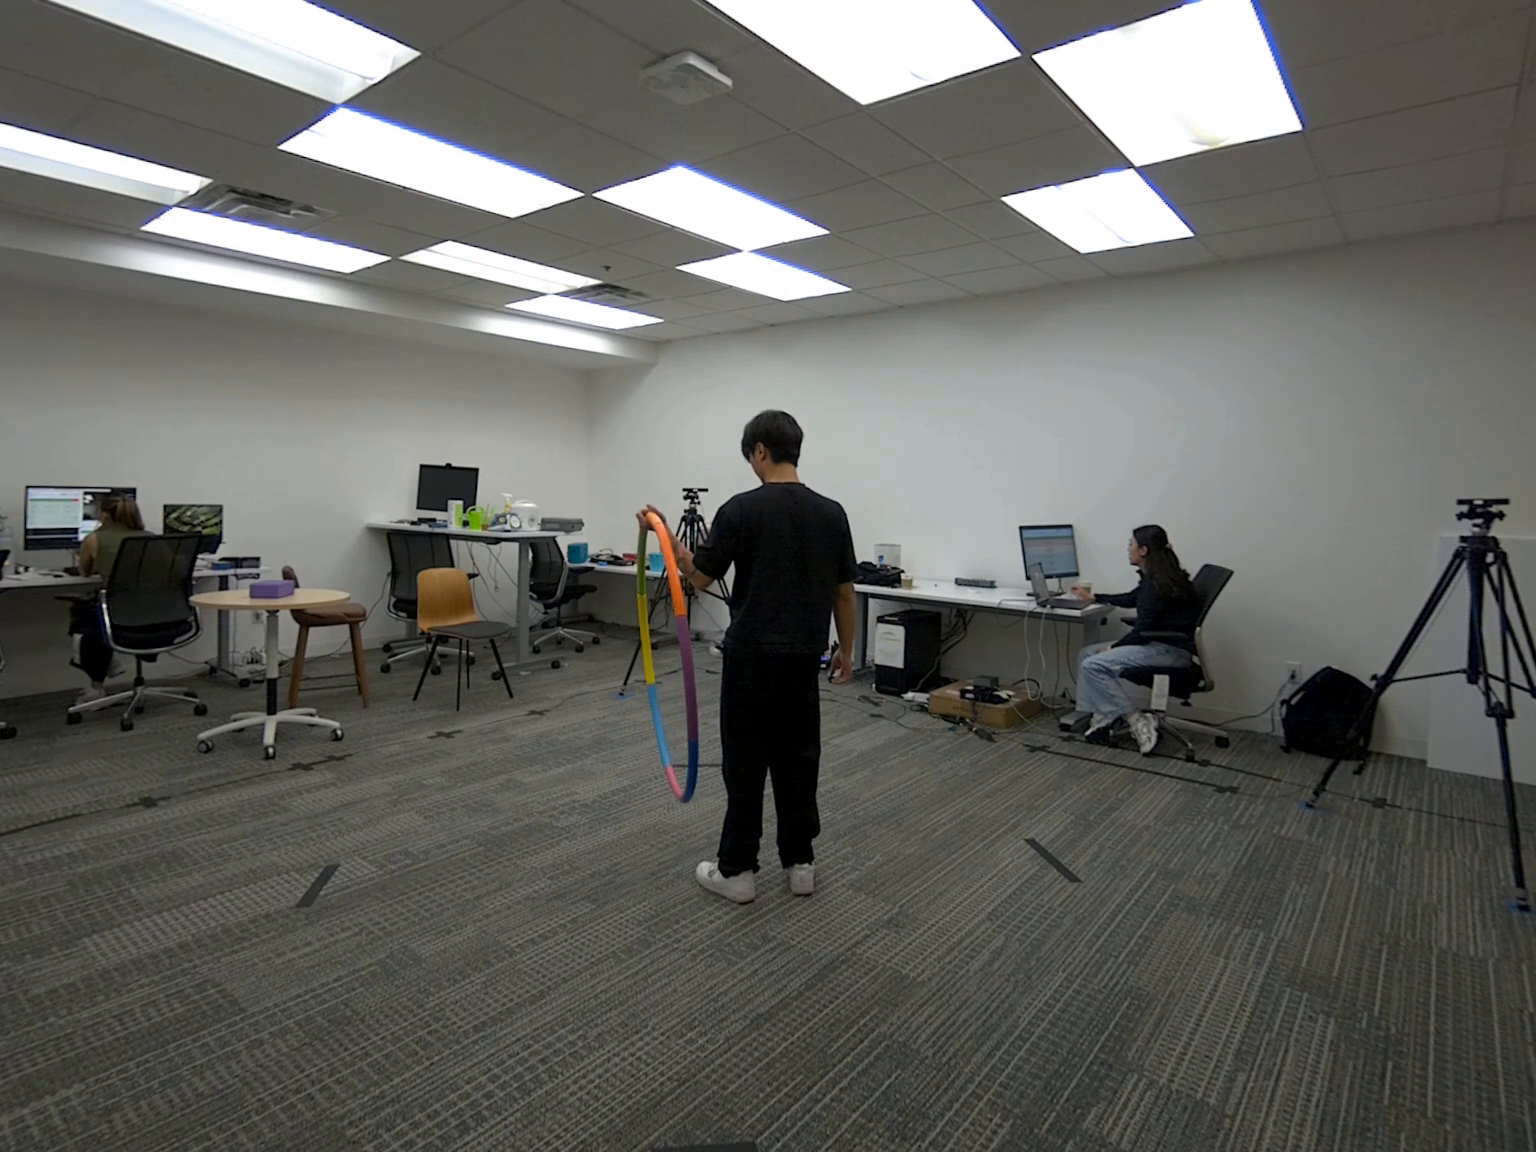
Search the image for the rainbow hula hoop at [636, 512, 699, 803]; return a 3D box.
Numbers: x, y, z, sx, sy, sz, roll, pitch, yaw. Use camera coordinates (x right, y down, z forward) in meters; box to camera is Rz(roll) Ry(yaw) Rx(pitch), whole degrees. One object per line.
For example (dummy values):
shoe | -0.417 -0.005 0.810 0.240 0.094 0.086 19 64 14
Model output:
rainbow hula hoop | -0.372 0.265 2.947 0.035 0.974 0.997 -6 6 -16
